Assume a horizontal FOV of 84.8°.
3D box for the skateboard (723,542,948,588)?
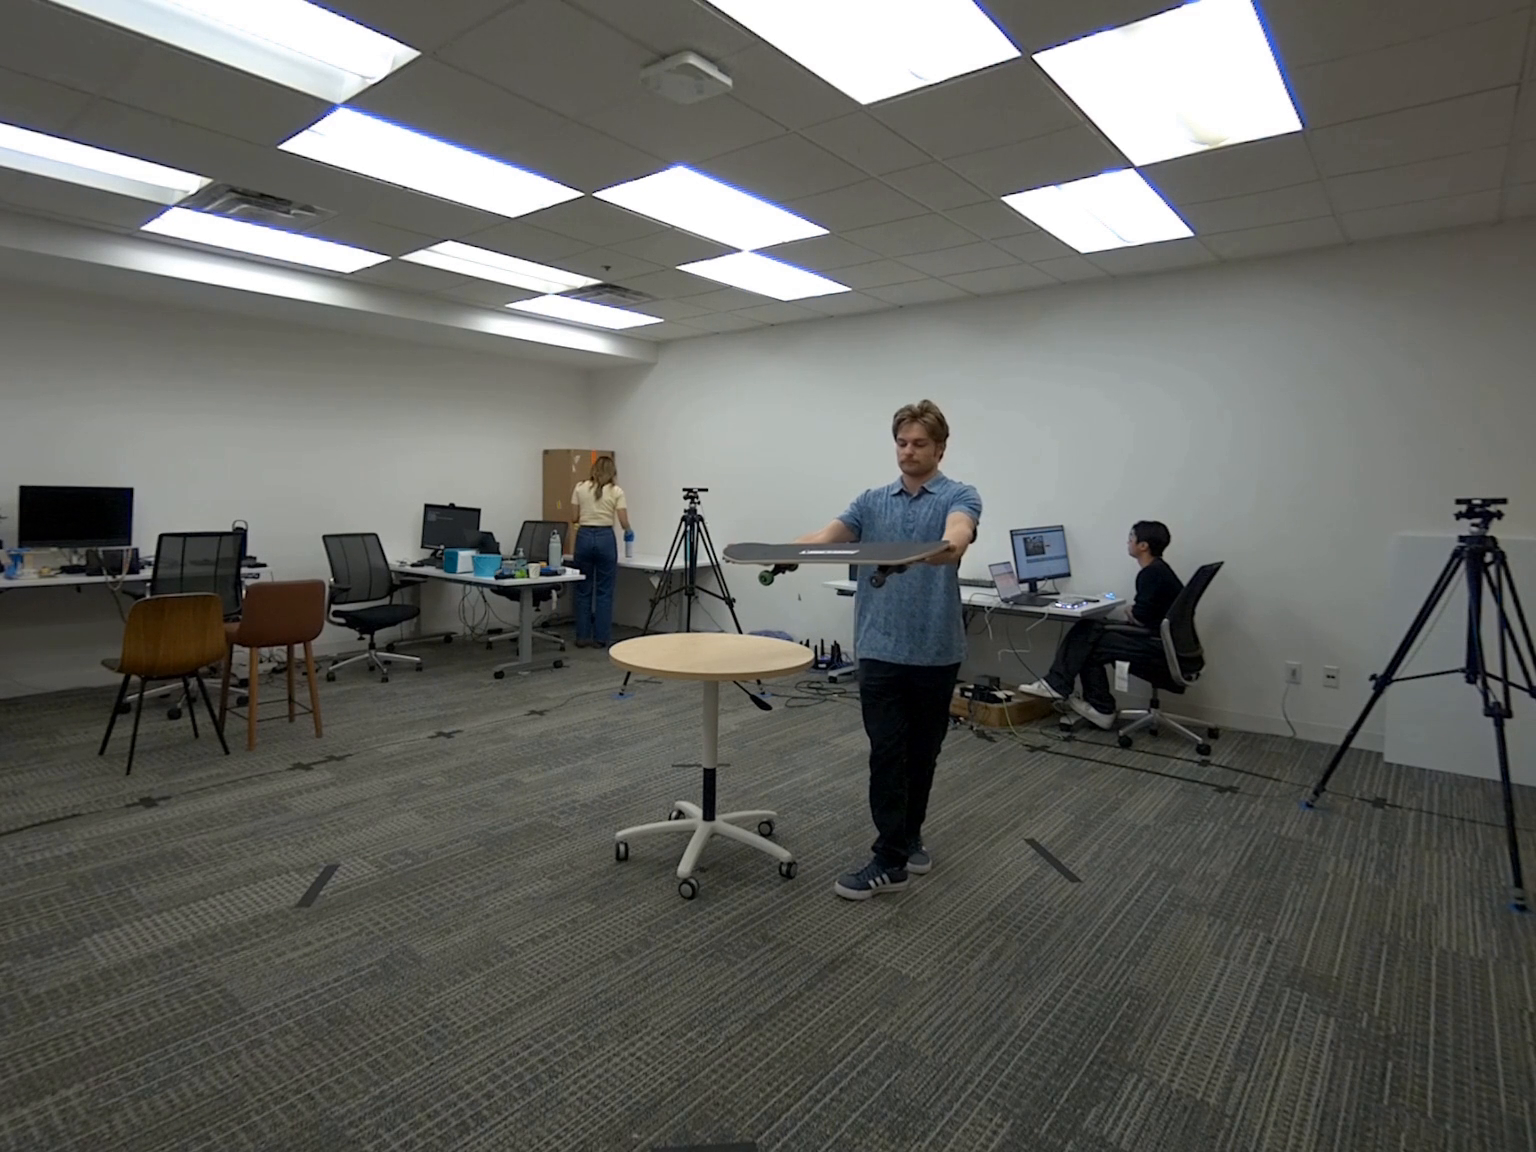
[{"bbox_3d":[0.187,-0.047,2.693,0.809,0.109,0.190,2,17,34],"label":"skateboard"}]
